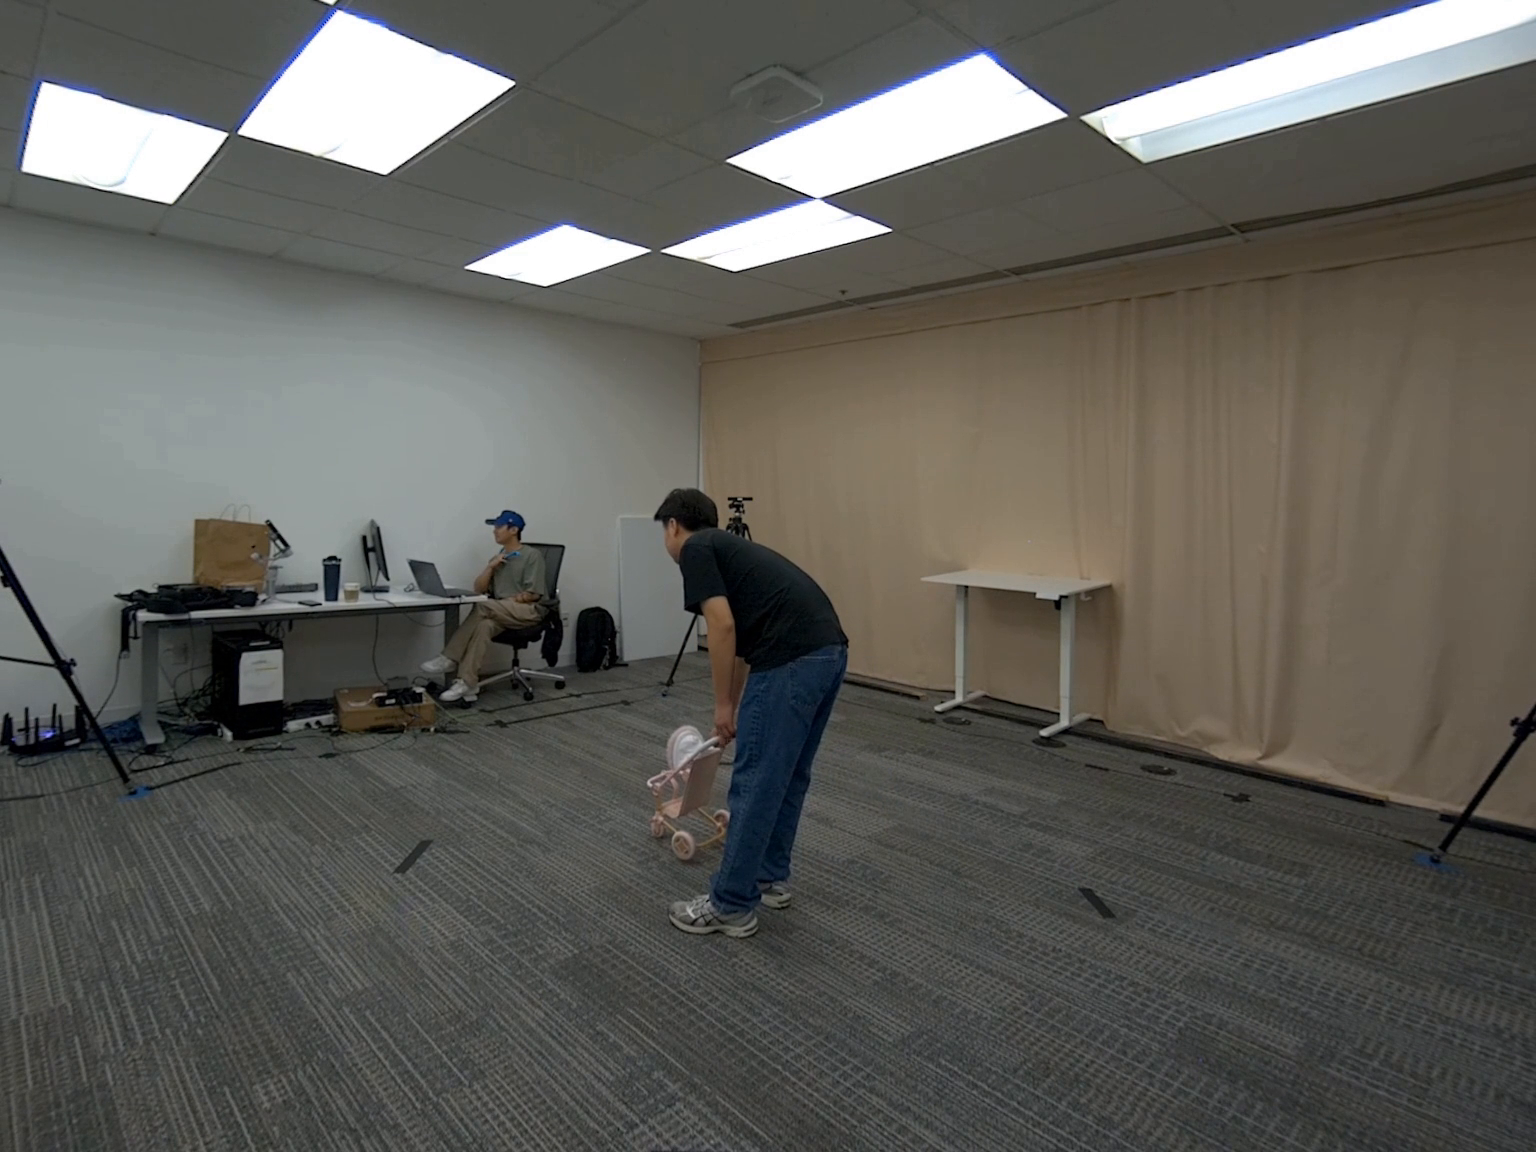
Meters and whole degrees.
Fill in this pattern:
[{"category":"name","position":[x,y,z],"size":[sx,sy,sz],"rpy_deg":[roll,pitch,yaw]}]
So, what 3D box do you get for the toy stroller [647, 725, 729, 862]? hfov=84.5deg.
[{"category":"toy stroller","position":[-0.323,0.835,3.329],"size":[0.351,0.531,0.275],"rpy_deg":[15,13,39]}]
